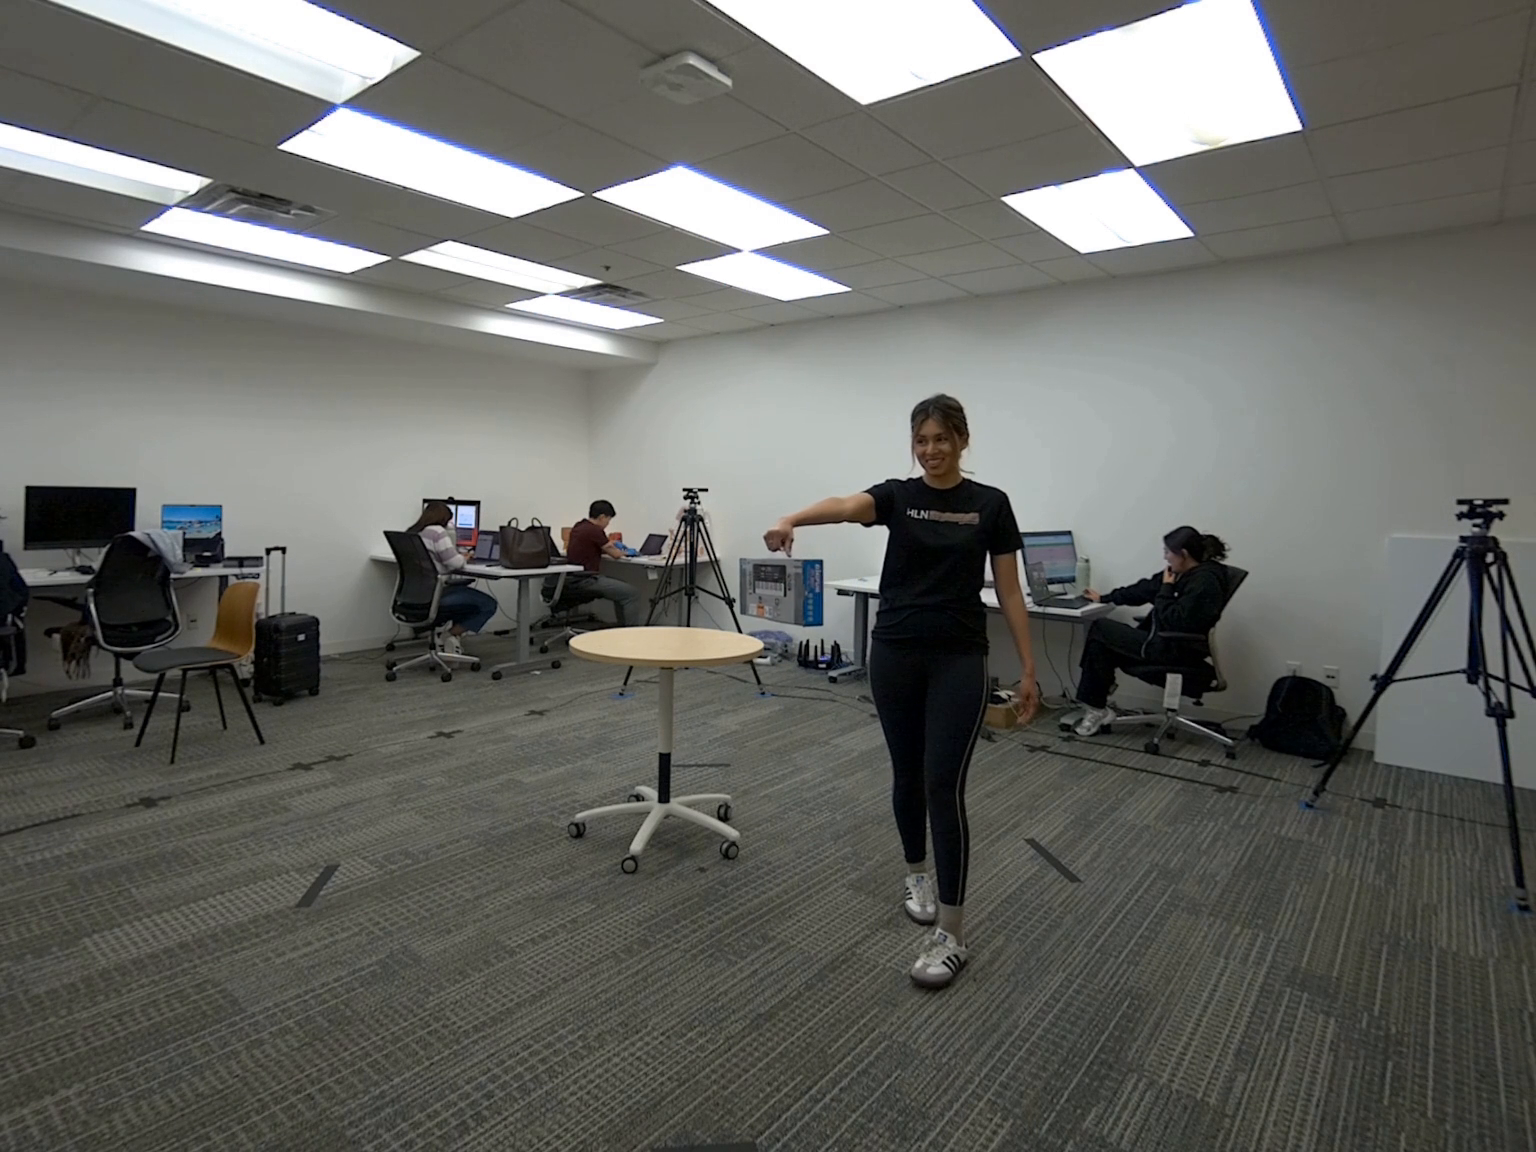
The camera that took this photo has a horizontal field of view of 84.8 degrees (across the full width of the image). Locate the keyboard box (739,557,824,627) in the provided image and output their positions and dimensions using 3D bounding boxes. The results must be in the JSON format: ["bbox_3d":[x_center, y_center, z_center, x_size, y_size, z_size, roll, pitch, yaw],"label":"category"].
[{"bbox_3d":[0.022,0.035,2.374,0.058,0.176,0.447,1,1,-24],"label":"keyboard box"}]
